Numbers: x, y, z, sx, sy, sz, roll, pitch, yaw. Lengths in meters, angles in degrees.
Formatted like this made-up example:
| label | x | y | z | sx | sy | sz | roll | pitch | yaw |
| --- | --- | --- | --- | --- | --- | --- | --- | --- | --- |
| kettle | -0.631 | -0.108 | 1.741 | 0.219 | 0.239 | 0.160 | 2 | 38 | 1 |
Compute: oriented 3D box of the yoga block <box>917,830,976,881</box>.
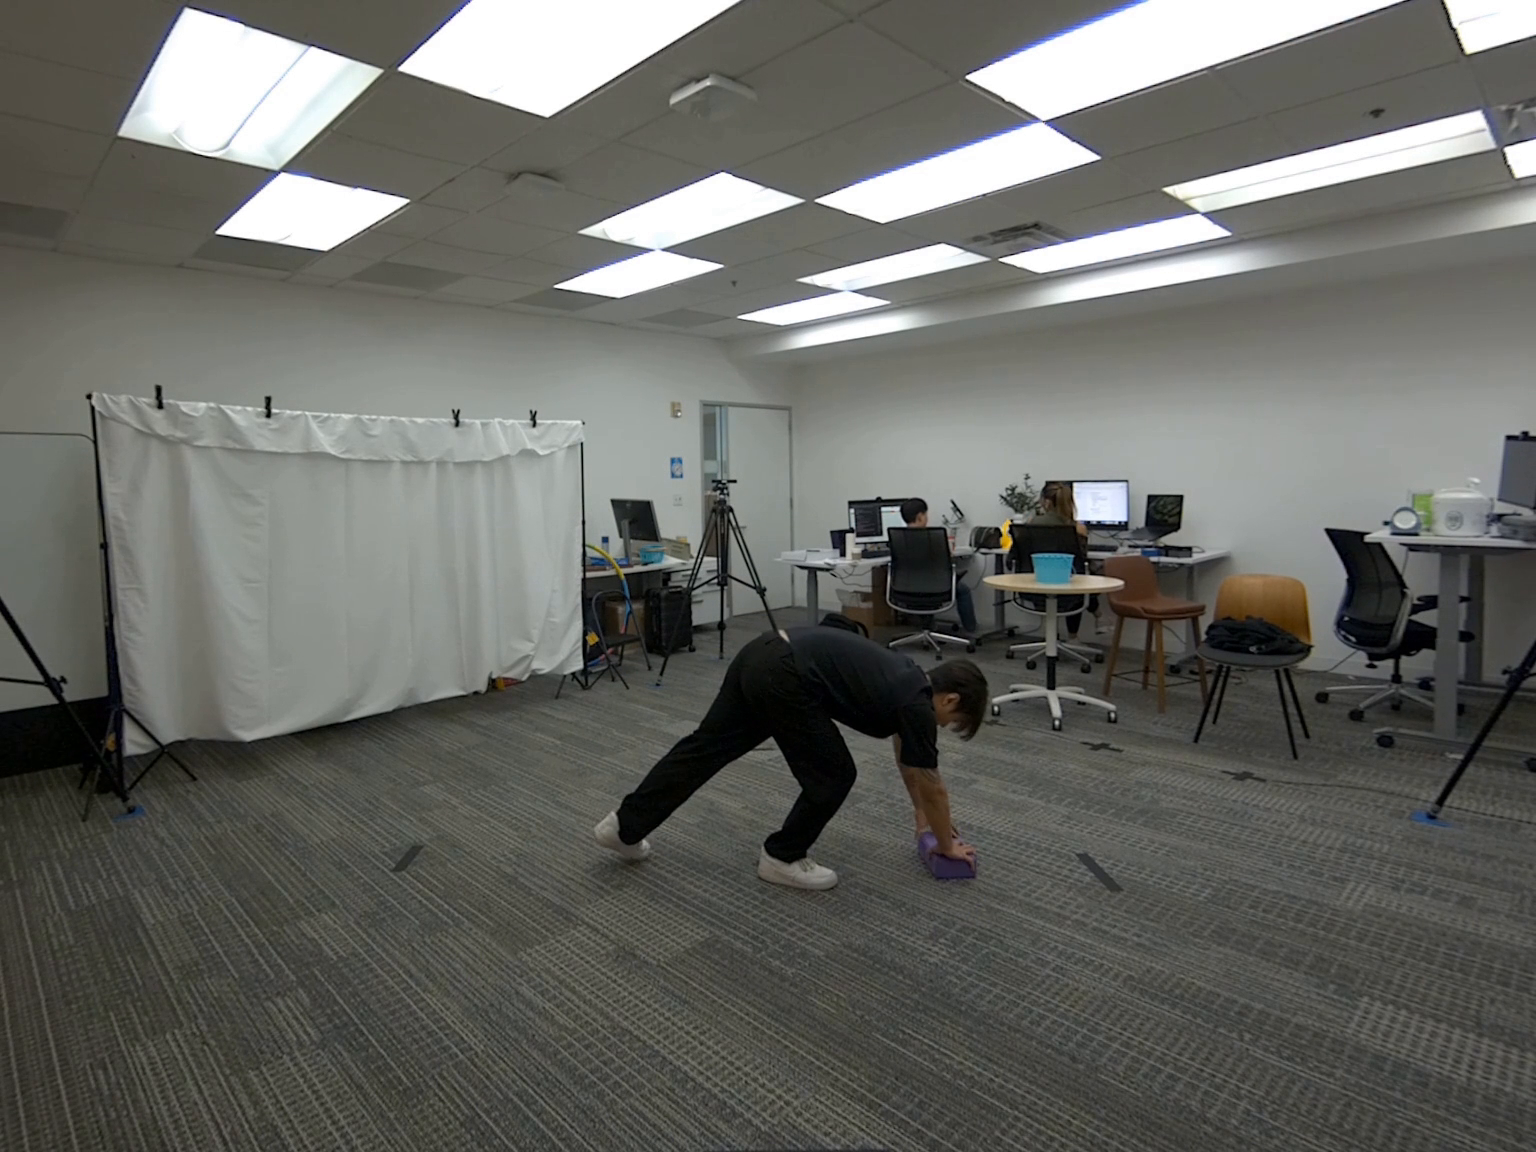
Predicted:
| label | x | y | z | sx | sy | sz | roll | pitch | yaw |
| --- | --- | --- | --- | --- | --- | --- | --- | --- | --- |
| yoga block | 0.645 | 1.003 | 3.072 | 0.148 | 0.076 | 0.231 | 1 | 5 | -4 |
